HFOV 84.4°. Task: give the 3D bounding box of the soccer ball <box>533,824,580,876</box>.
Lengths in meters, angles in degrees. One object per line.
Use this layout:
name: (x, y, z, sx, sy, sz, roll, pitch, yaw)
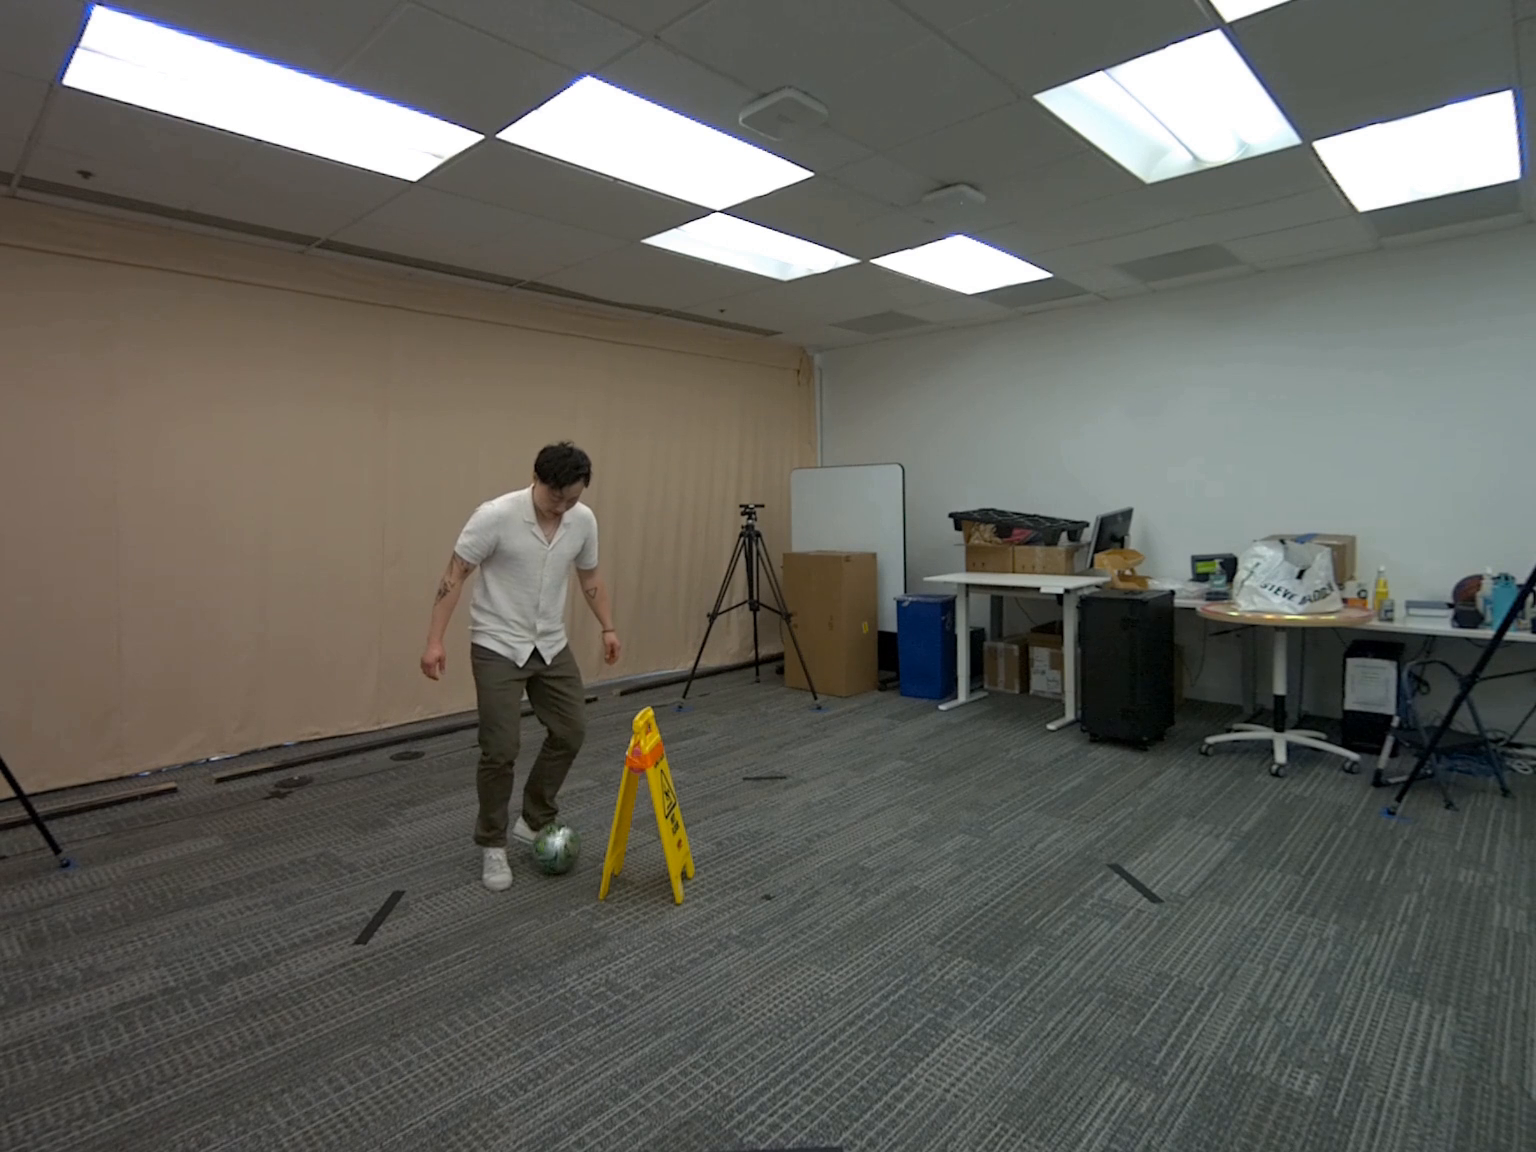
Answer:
soccer ball: (-0.815, 1.053, 3.232, 0.187, 0.187, 0.188, -1, 4, -2)
